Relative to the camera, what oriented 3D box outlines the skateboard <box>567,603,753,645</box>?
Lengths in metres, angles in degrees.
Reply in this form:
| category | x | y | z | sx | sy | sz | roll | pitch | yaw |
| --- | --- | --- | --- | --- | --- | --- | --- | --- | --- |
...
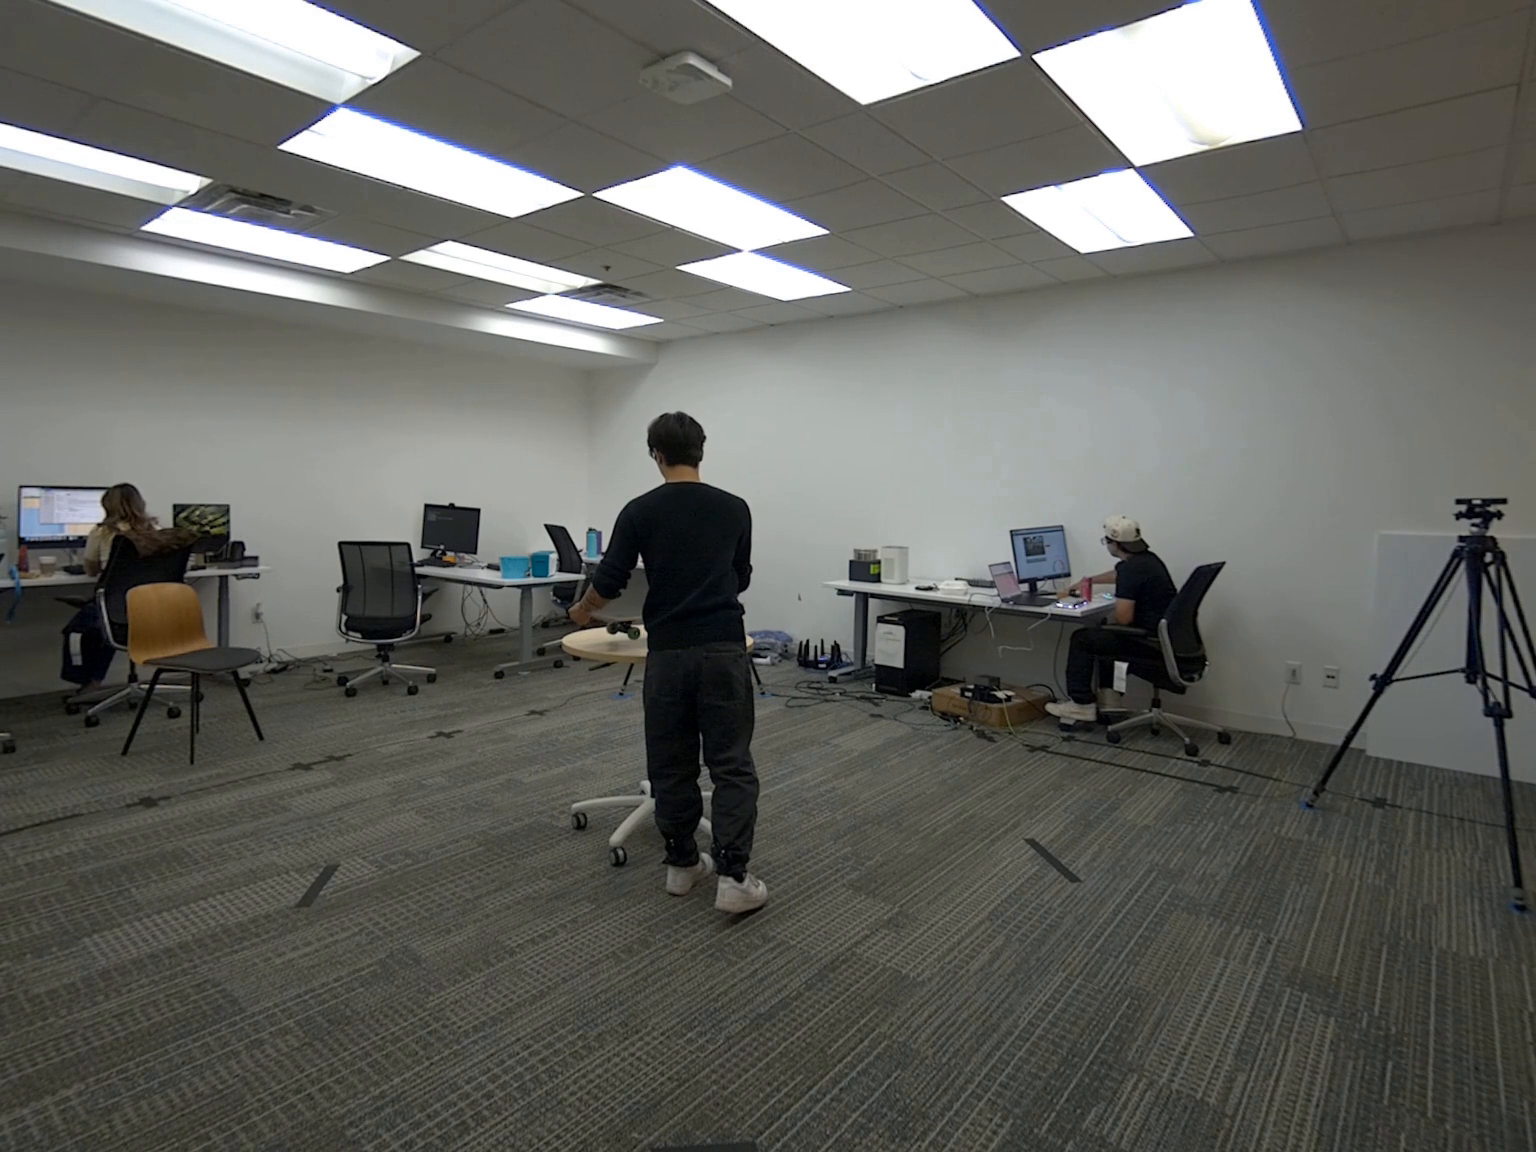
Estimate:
| category | x | y | z | sx | sy | sz | roll | pitch | yaw |
| --- | --- | --- | --- | --- | --- | --- | --- | --- | --- |
| skateboard | -0.423 | 0.179 | 3.433 | 0.761 | 0.110 | 0.200 | -2 | 4 | -41 |
